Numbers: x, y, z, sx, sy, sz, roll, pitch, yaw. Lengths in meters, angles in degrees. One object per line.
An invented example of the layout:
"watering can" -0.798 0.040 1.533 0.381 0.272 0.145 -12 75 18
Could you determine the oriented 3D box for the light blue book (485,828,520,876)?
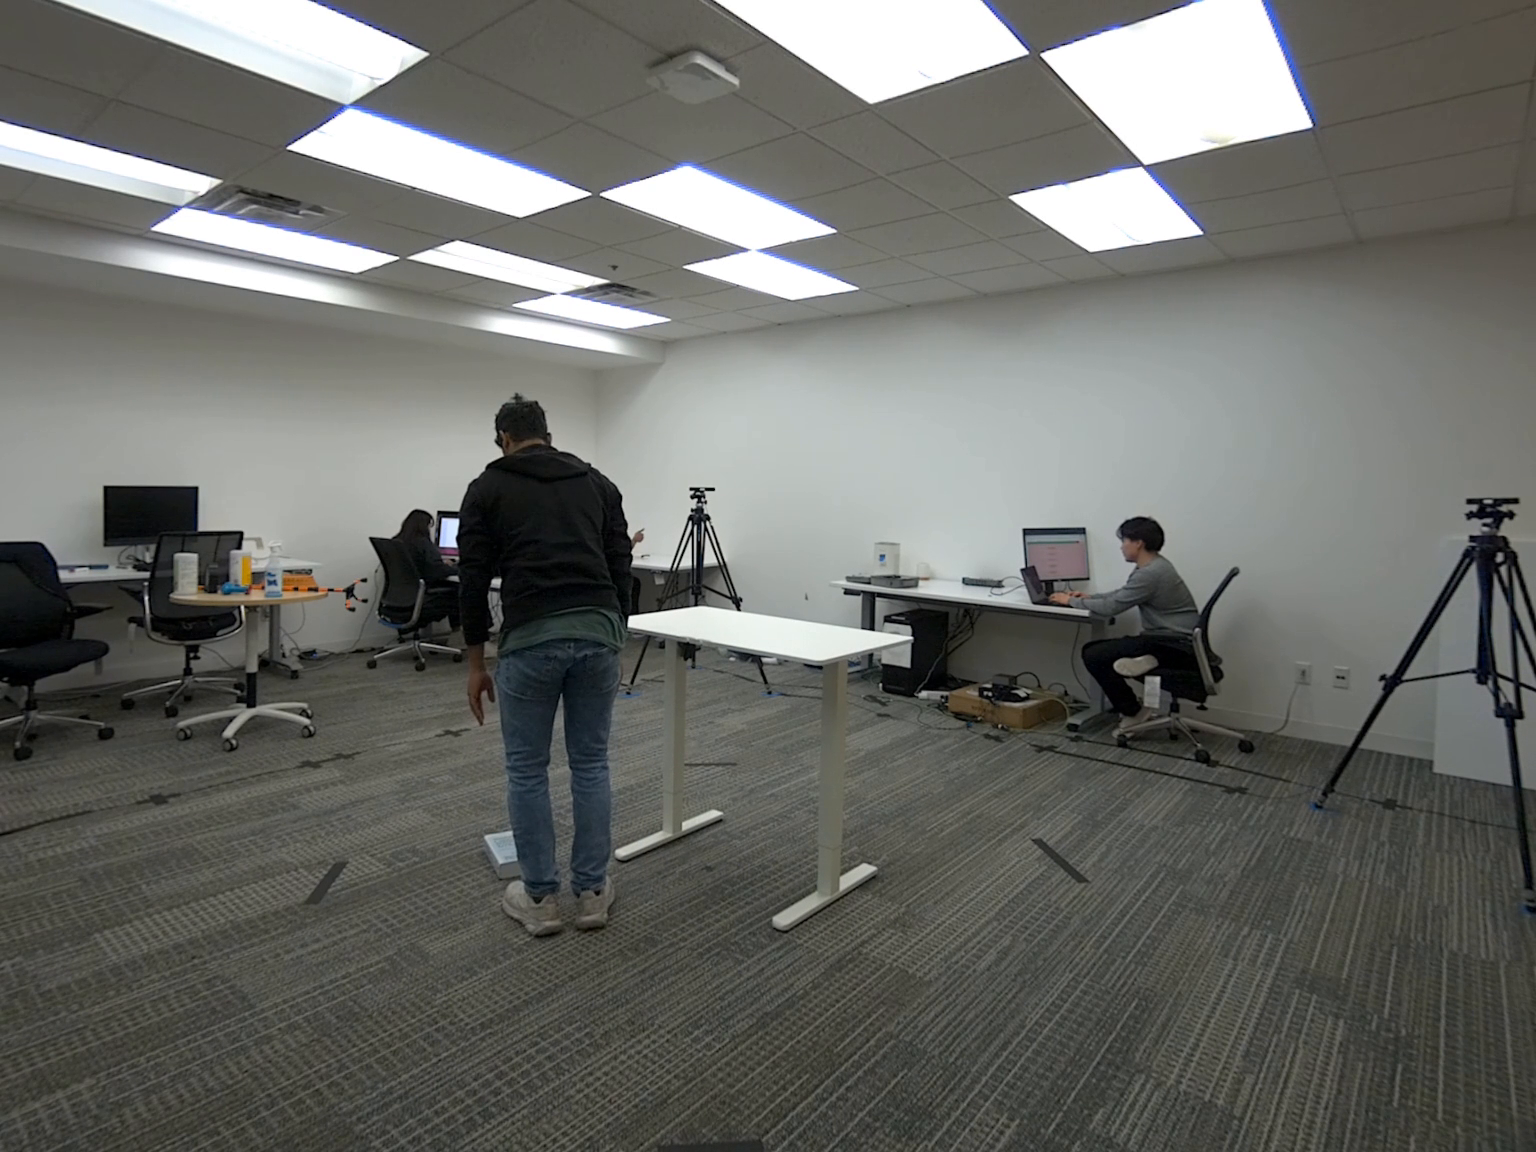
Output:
"light blue book" -0.934 1.017 3.140 0.186 0.059 0.269 -2 6 -29
